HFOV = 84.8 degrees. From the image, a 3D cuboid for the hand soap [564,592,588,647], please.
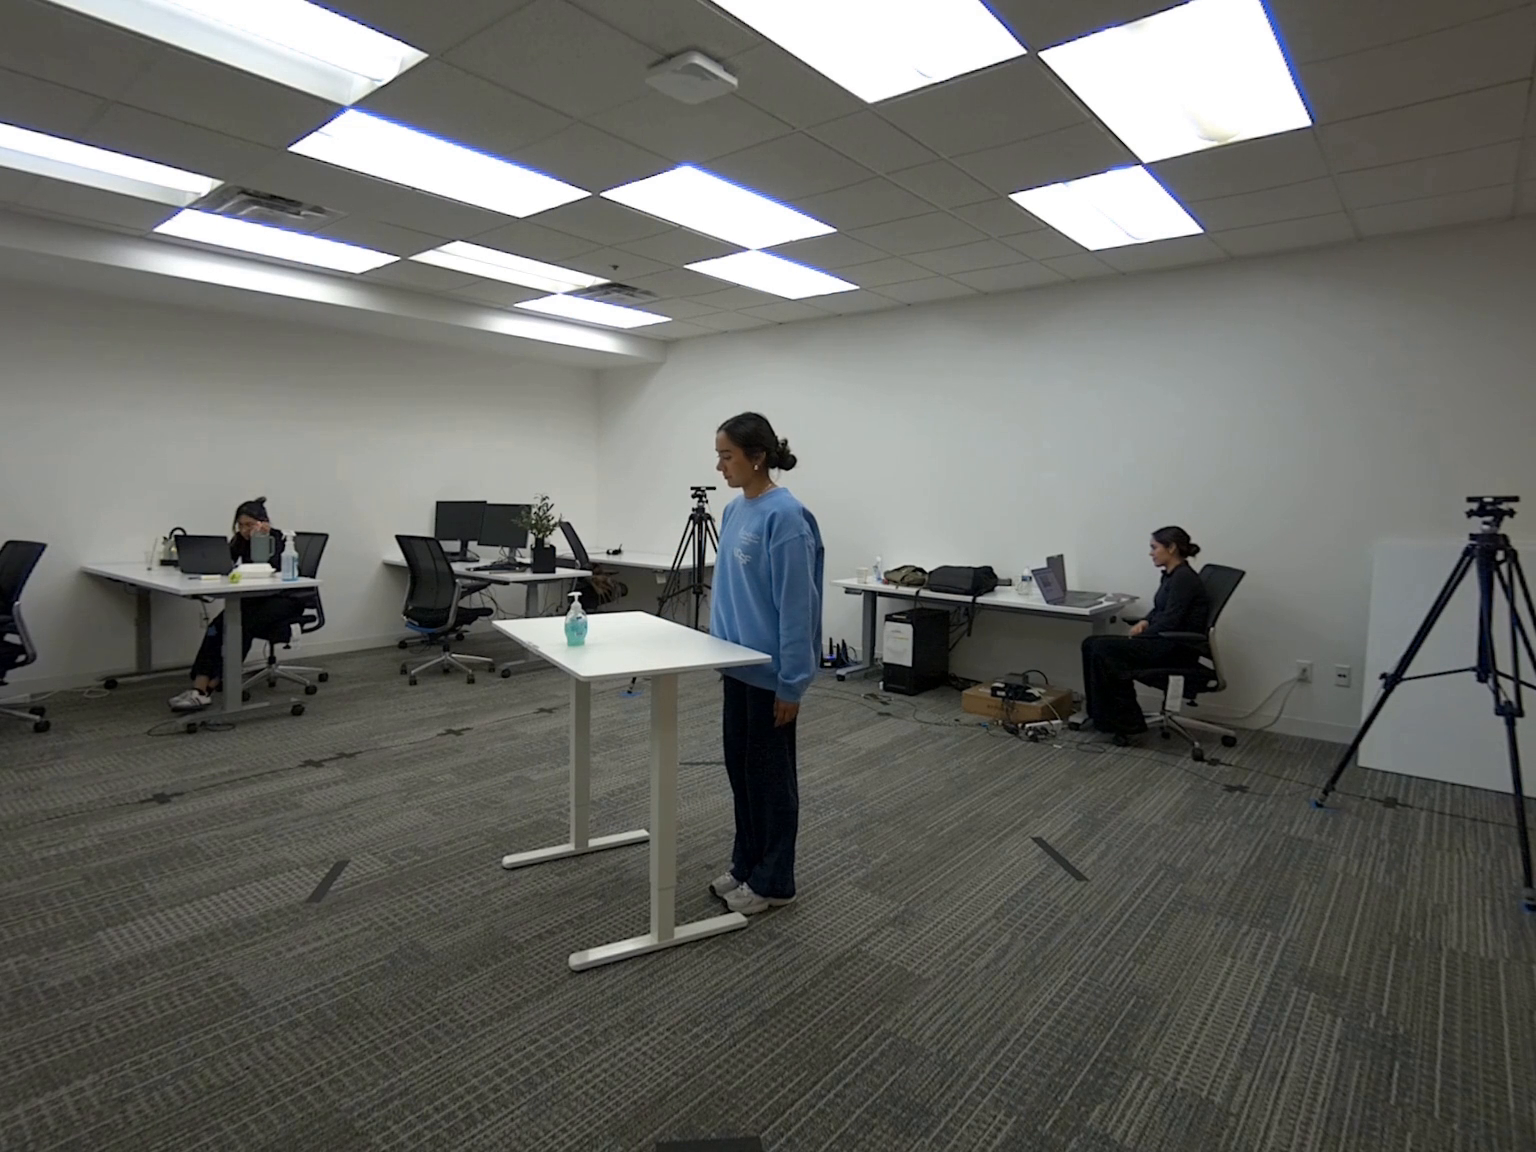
[{"bbox_3d":[-0.625,0.135,2.712,0.045,0.167,0.082,5,6,38],"label":"hand soap"}]
